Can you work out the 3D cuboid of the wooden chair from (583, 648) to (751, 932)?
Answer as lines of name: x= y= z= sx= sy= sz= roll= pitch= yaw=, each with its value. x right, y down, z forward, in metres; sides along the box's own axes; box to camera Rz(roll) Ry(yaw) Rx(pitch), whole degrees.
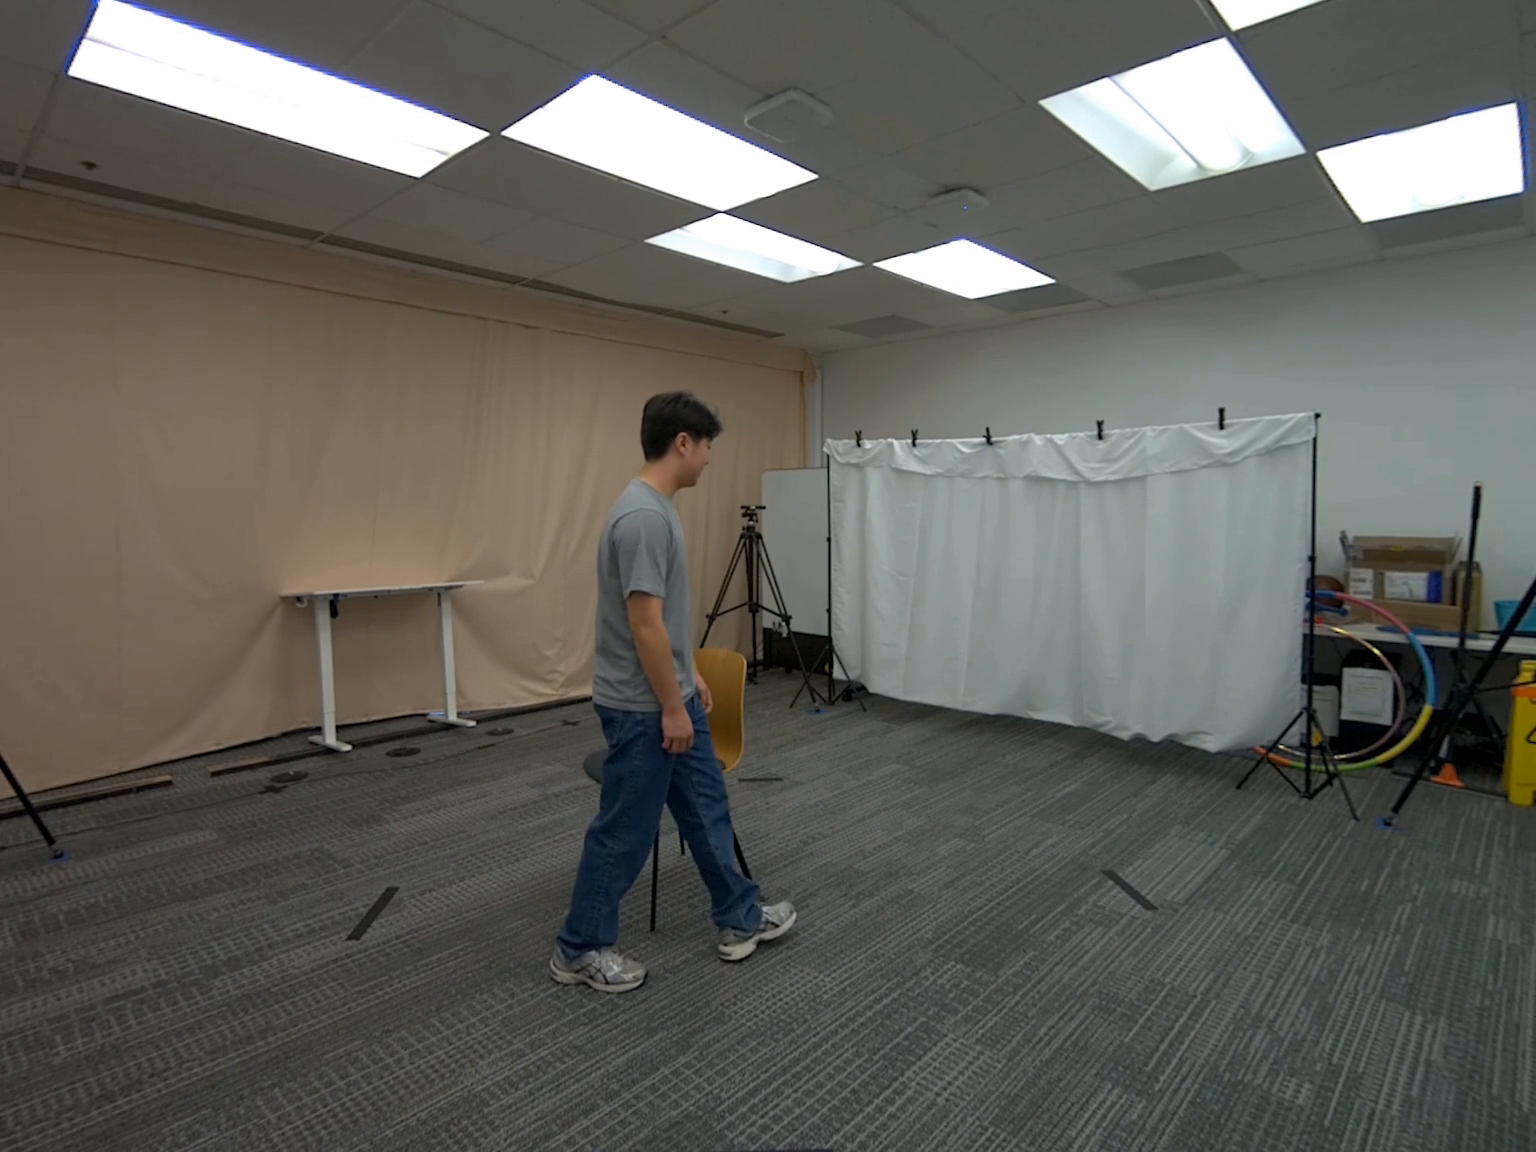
wooden chair: x=-0.368 y=0.714 z=3.035 sx=0.506 sy=0.877 sz=0.494 roll=2 pitch=1 yaw=-40
